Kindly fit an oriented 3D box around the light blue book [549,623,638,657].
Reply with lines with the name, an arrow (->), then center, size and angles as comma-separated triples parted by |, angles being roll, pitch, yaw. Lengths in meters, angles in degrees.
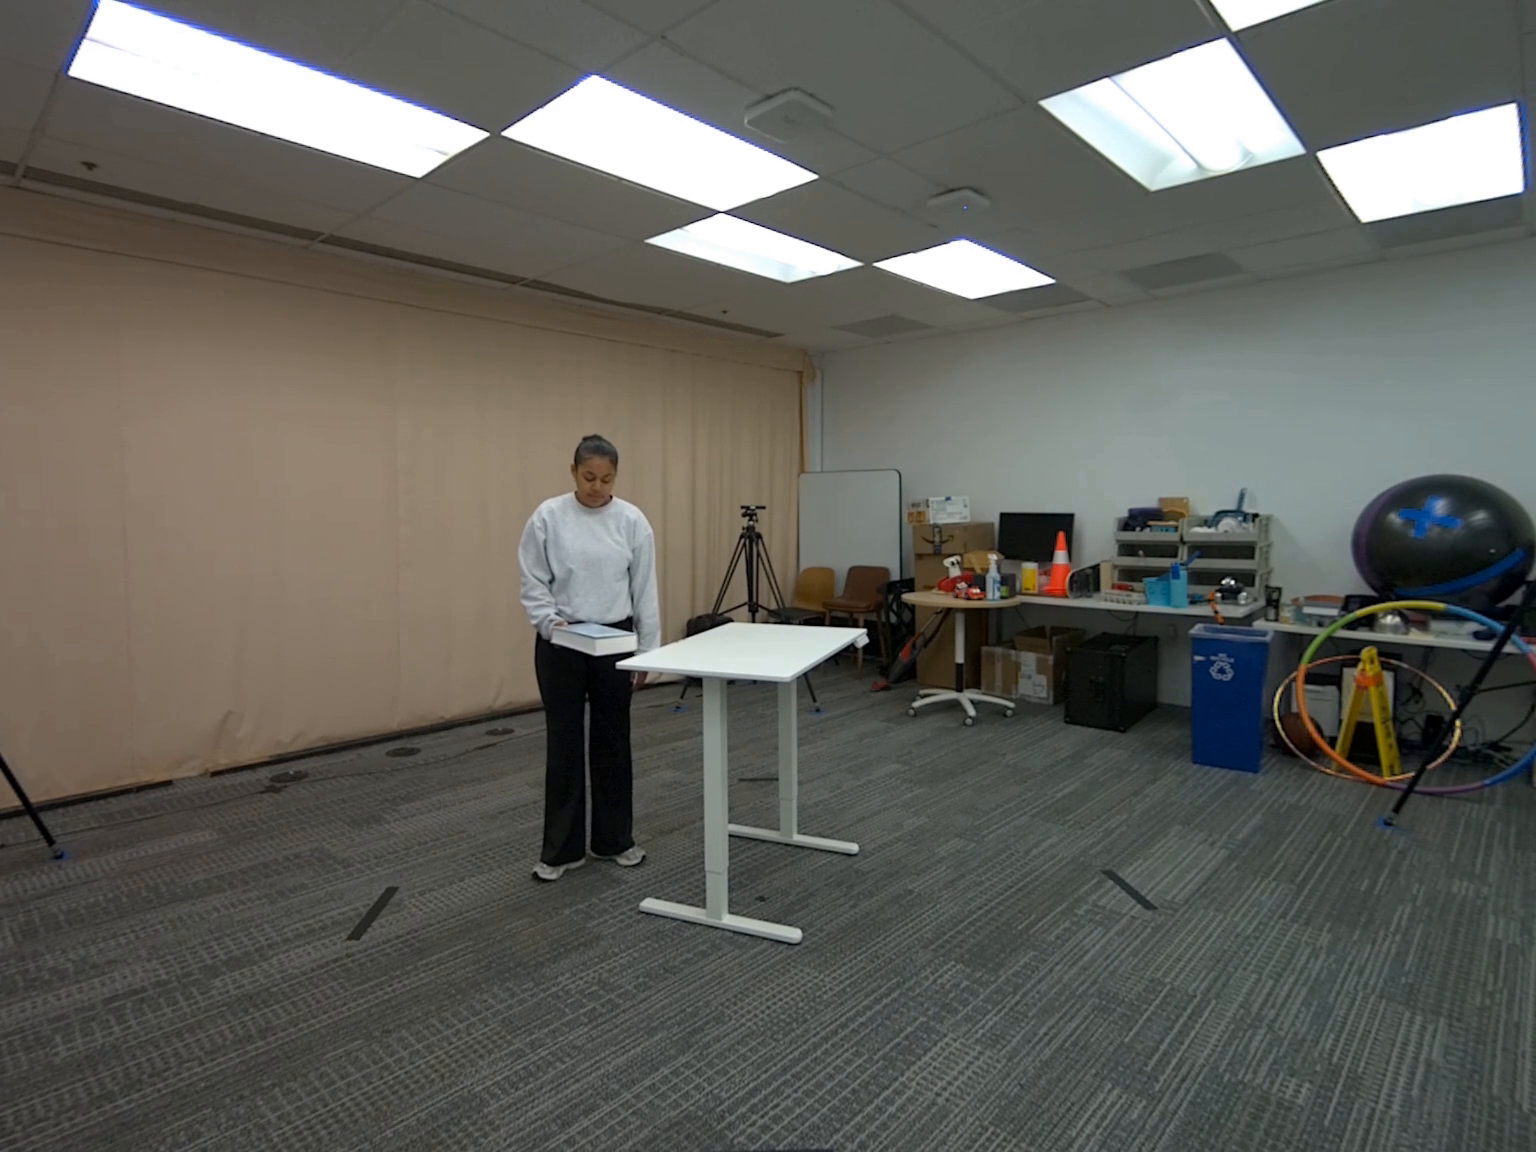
light blue book -> -0.603, 0.216, 2.954 | 0.270, 0.059, 0.185 | 8, 7, 43
